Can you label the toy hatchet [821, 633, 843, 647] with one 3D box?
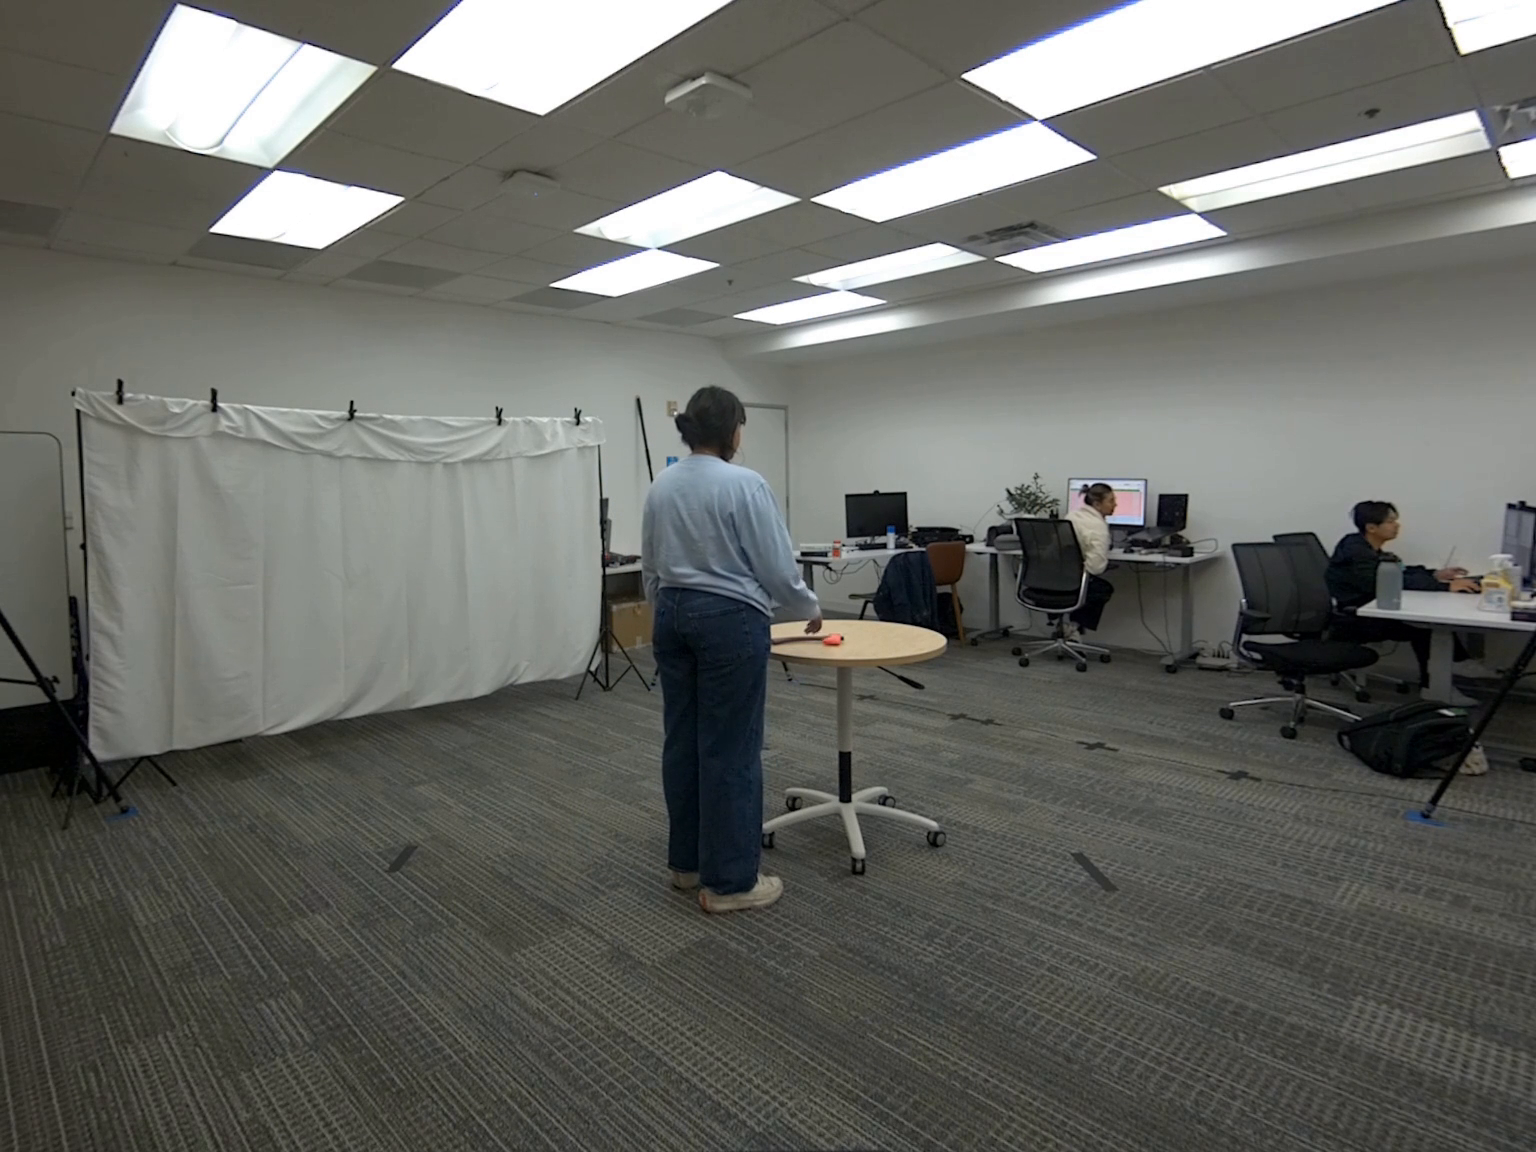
[{"bbox_3d":[0.159,0.243,3.145,0.266,0.029,0.134,-5,11,-15],"label":"toy hatchet"}]
